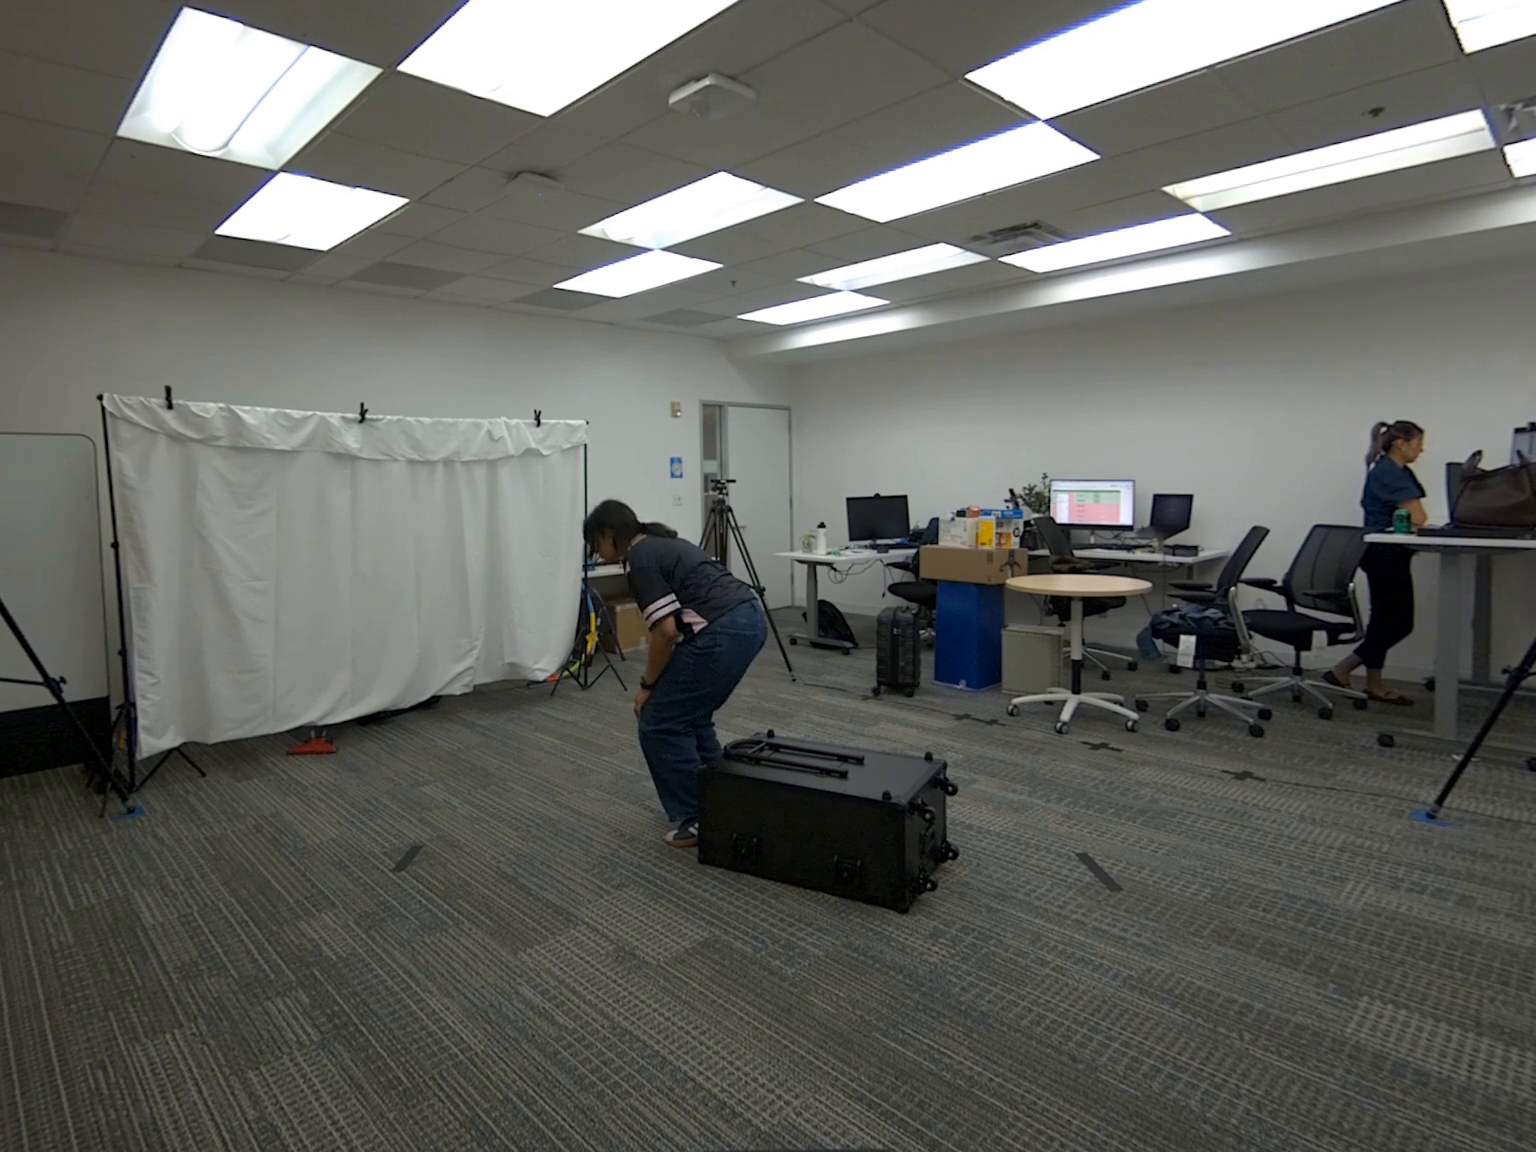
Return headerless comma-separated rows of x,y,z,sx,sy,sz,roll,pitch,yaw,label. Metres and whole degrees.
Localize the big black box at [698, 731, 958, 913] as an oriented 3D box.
0.237,0.856,3.104,0.891,0.384,0.512,2,5,28,big black box
